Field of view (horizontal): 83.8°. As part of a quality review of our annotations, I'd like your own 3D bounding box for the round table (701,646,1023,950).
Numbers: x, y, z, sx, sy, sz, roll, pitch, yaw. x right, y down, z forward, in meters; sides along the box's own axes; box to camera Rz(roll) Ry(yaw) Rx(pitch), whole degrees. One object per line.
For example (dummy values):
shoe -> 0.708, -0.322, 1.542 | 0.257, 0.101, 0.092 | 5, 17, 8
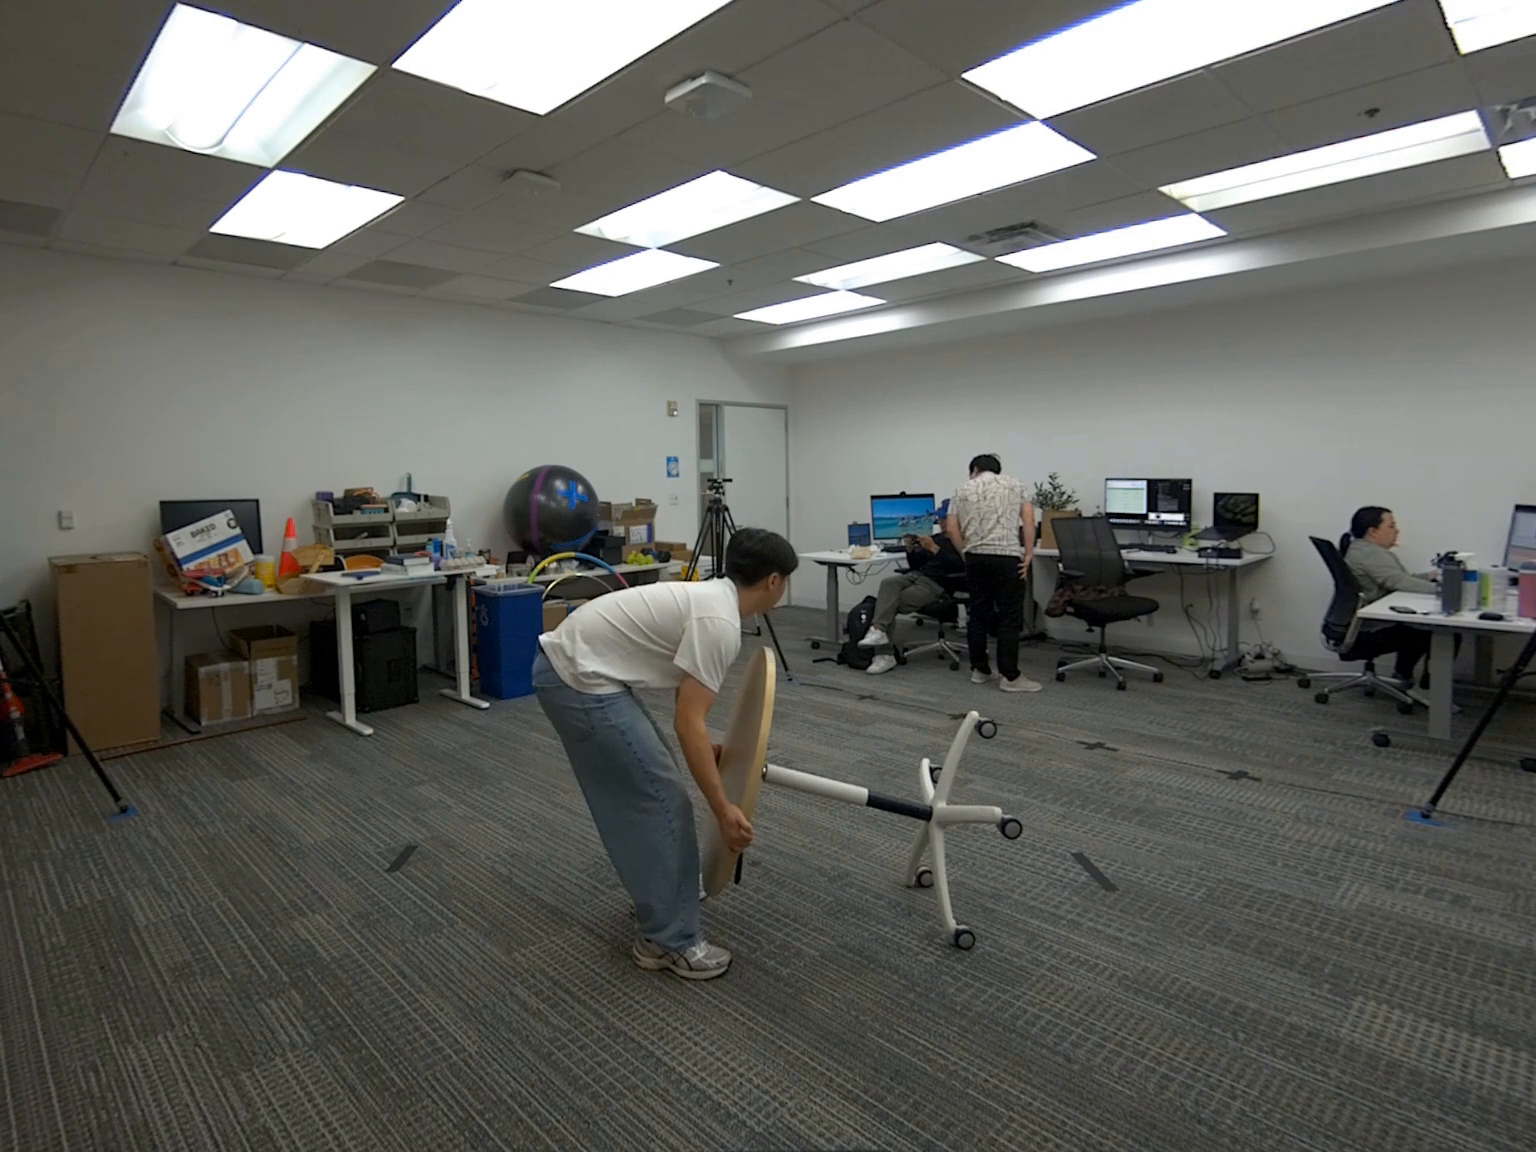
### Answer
round table -> 0.272, 0.680, 2.727 | 0.781, 0.783, 0.792 | 14, 3, -6
